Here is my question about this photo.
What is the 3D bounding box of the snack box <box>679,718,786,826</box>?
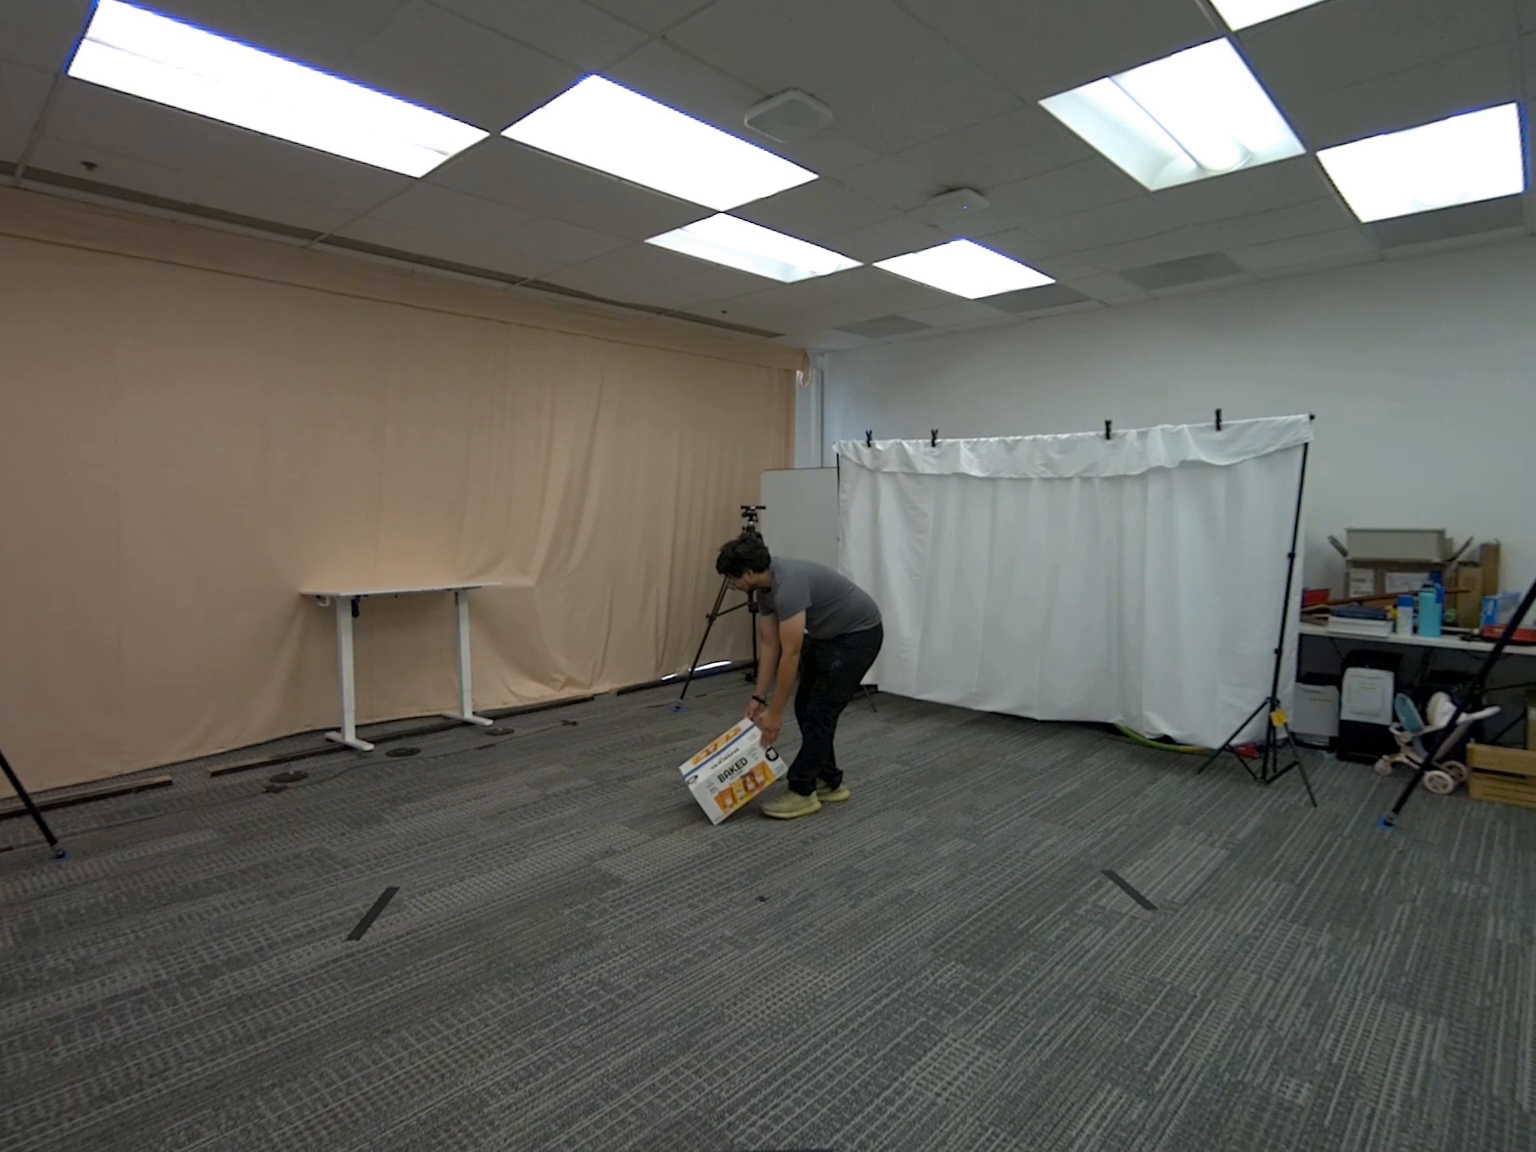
[{"bbox_3d":[-0.165,0.881,3.849,0.403,0.204,0.345,-36,10,-9],"label":"snack box"}]
